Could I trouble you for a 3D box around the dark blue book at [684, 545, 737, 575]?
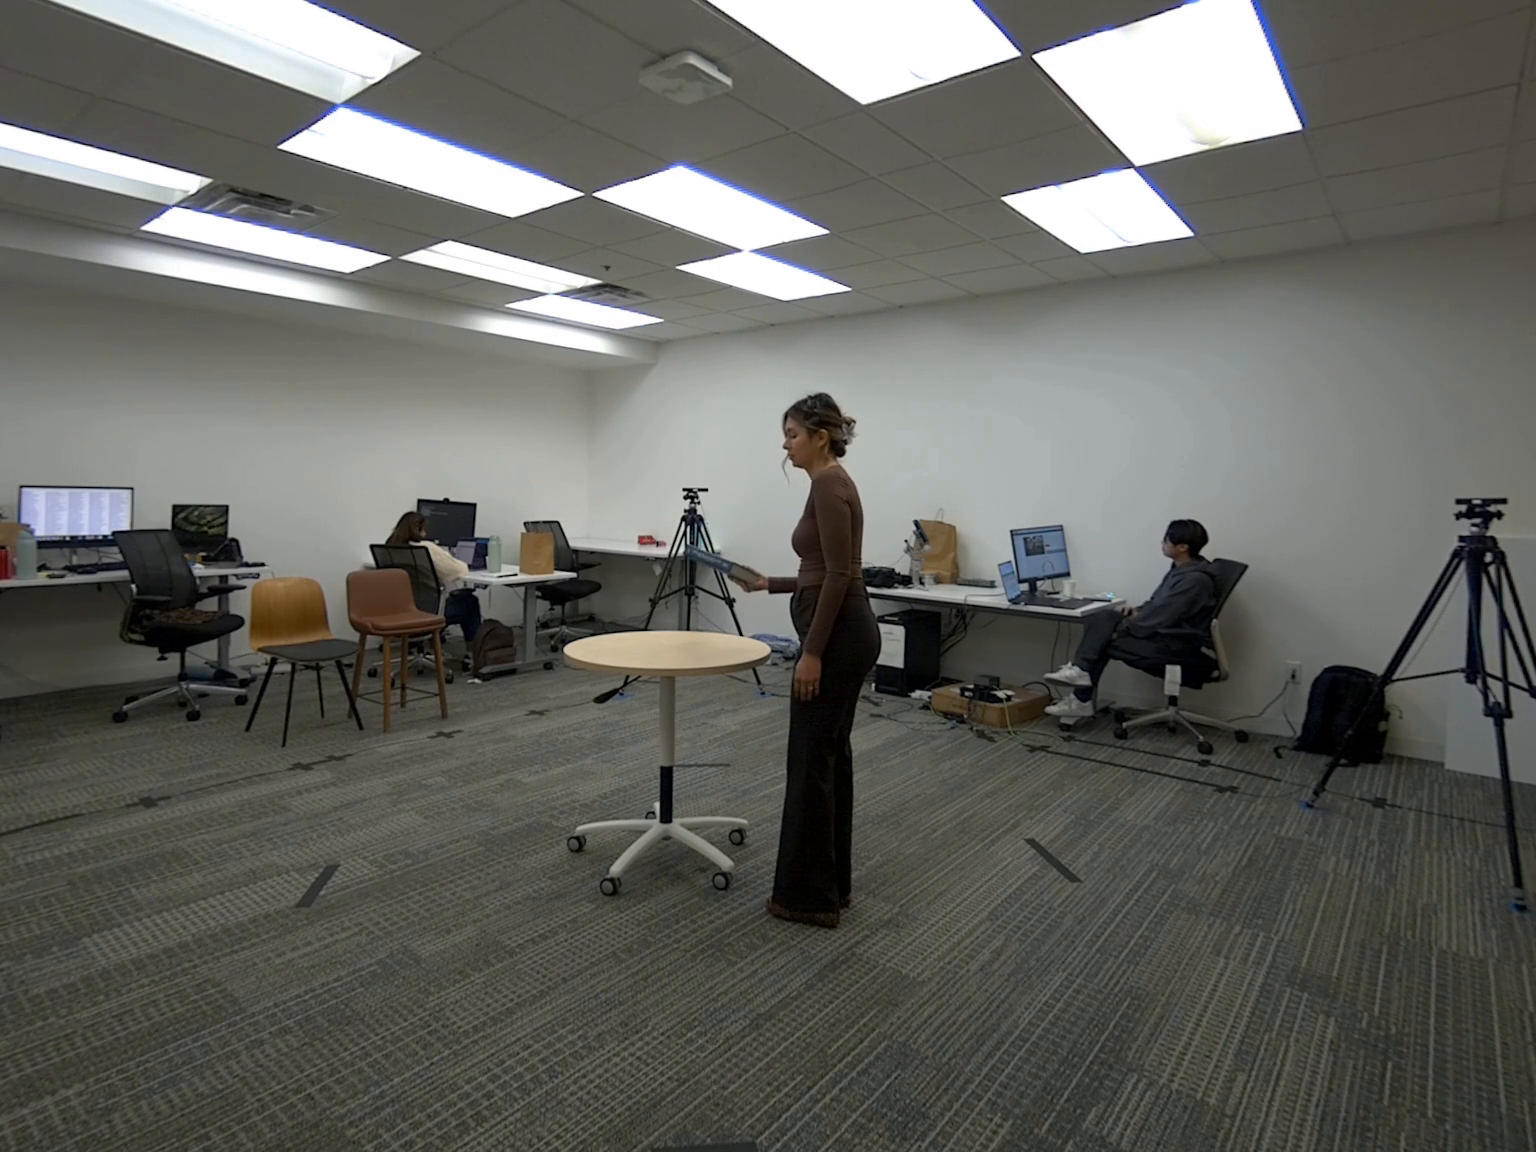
[{"bbox_3d":[-0.180,-0.040,3.046,0.255,0.045,0.157,20,-5,40],"label":"dark blue book"}]
